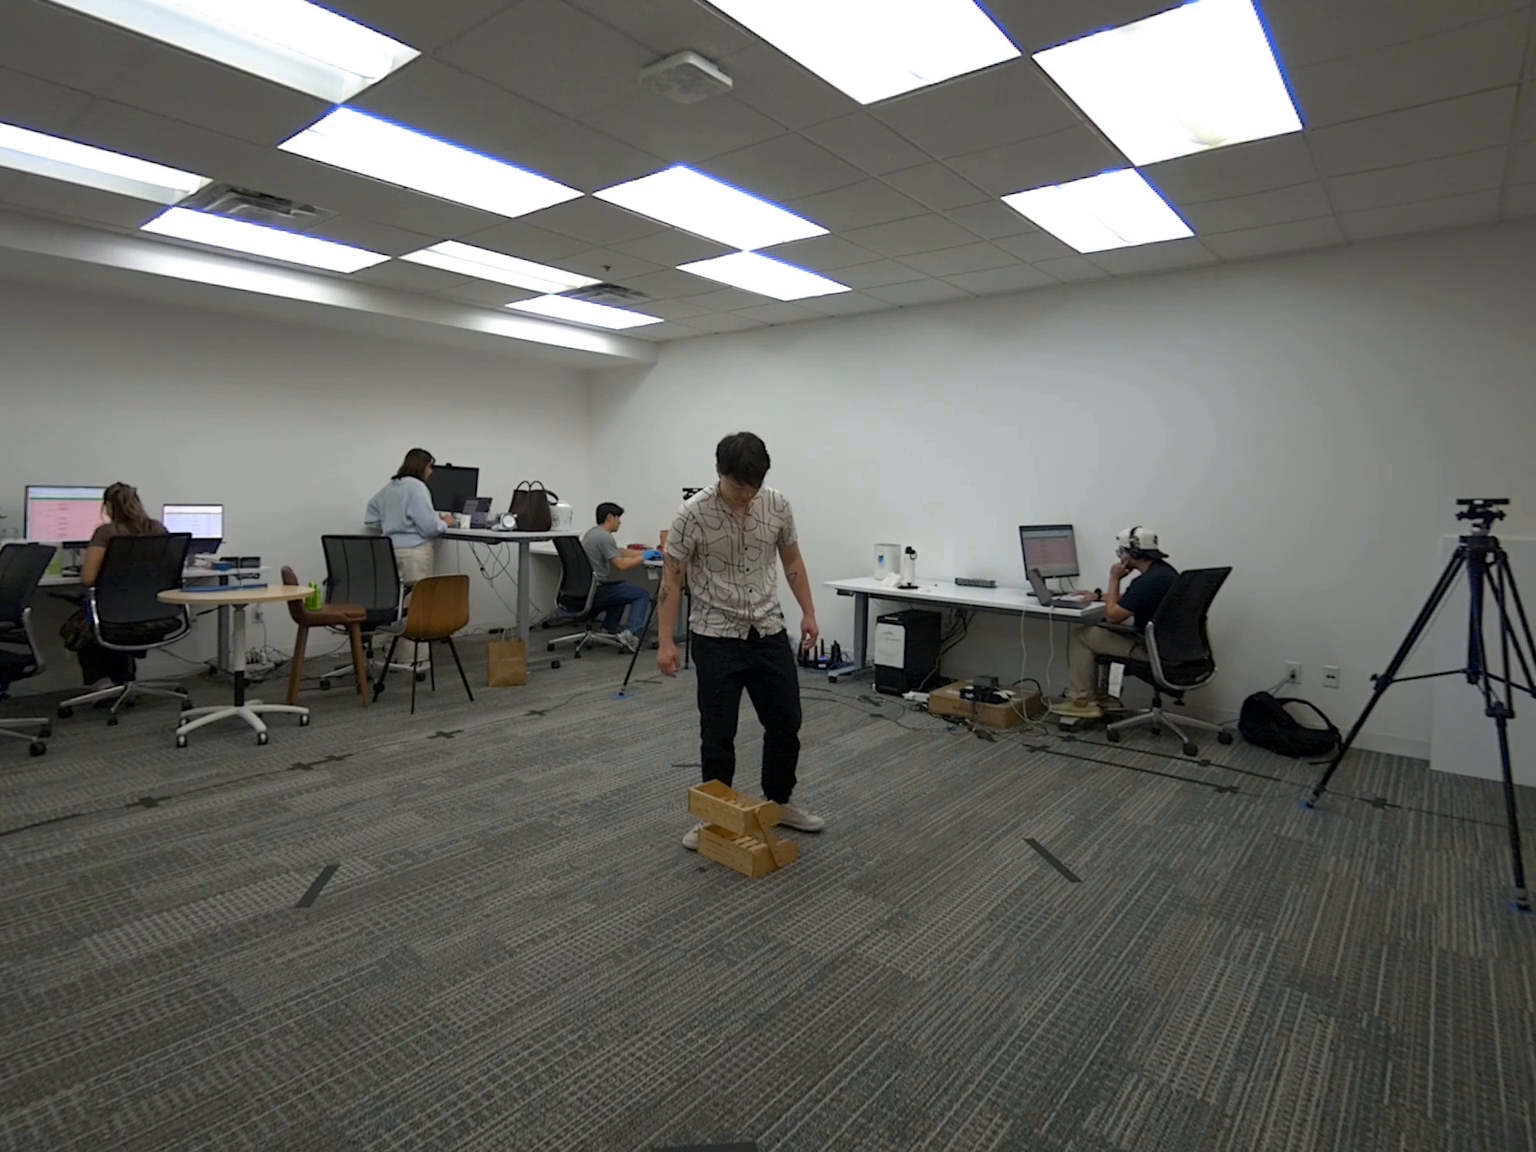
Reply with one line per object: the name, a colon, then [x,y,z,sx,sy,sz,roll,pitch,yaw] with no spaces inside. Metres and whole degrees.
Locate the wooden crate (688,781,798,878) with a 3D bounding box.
wooden crate: [-0.099,0.930,3.211,0.335,0.272,0.293,5,7,44]
